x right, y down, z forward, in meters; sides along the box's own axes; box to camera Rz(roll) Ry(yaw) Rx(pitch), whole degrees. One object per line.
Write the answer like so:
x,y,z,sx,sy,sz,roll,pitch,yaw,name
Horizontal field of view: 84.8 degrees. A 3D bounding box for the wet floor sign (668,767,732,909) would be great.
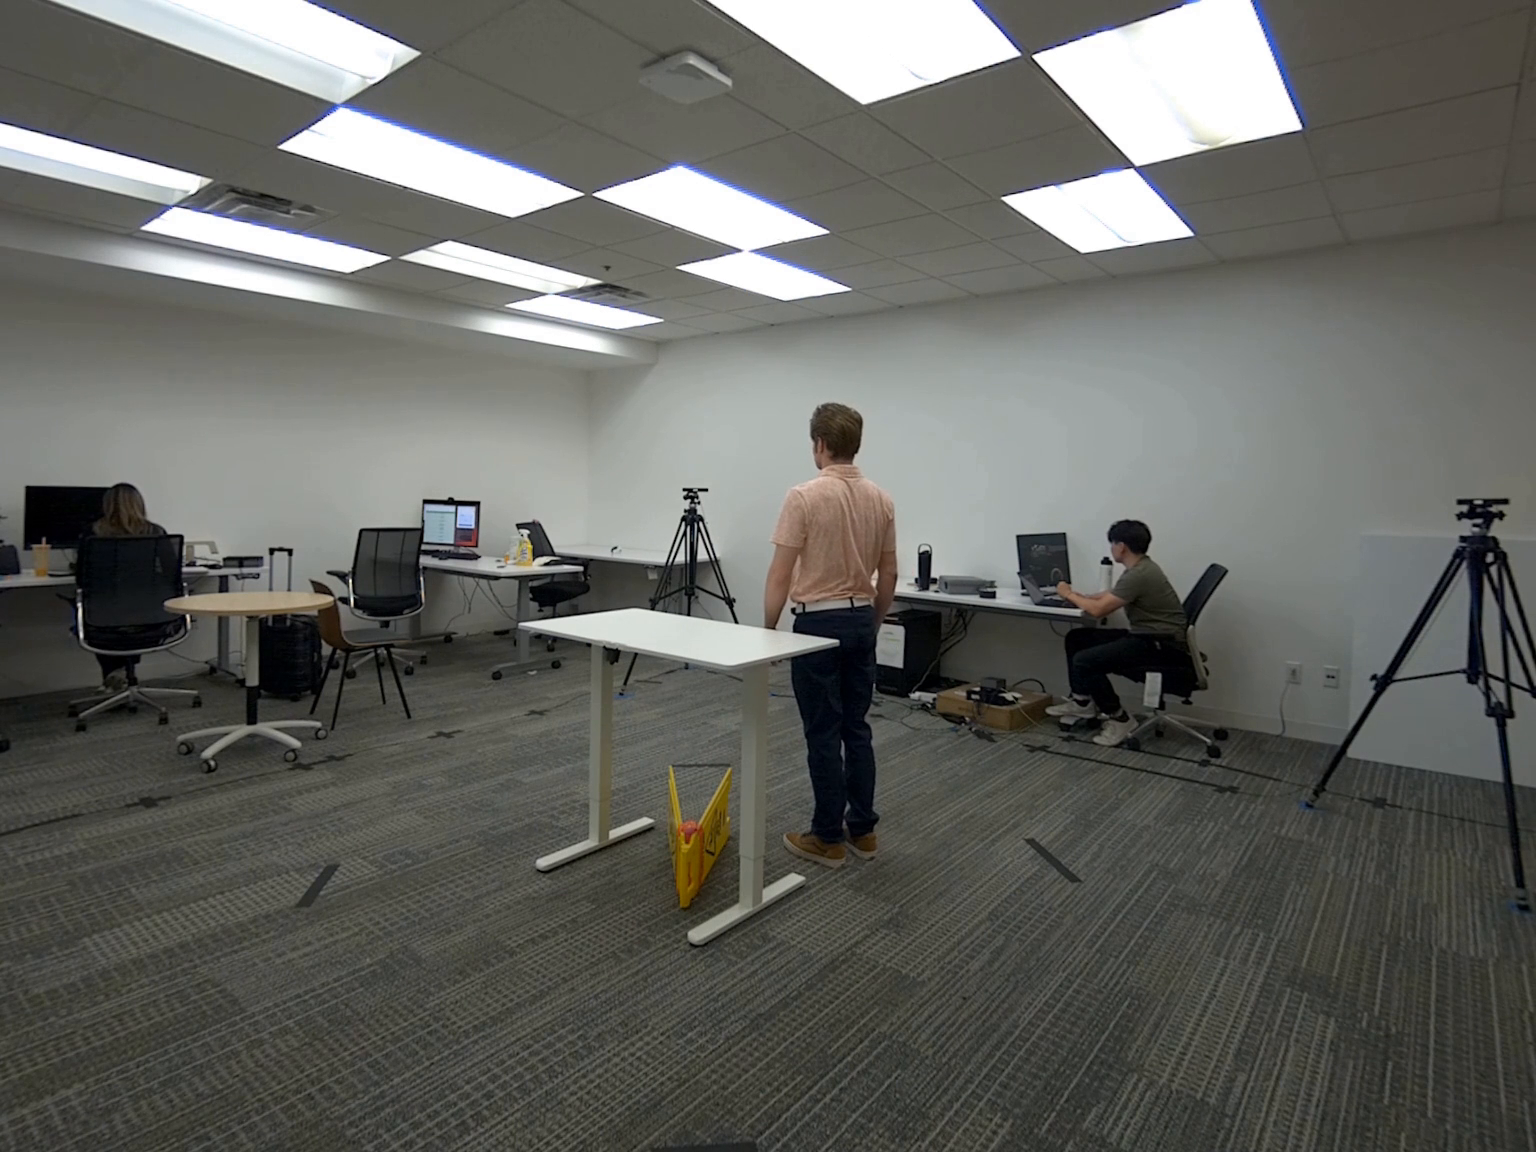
-0.281,0.942,3.096,0.290,0.280,0.649,1,9,1,wet floor sign
